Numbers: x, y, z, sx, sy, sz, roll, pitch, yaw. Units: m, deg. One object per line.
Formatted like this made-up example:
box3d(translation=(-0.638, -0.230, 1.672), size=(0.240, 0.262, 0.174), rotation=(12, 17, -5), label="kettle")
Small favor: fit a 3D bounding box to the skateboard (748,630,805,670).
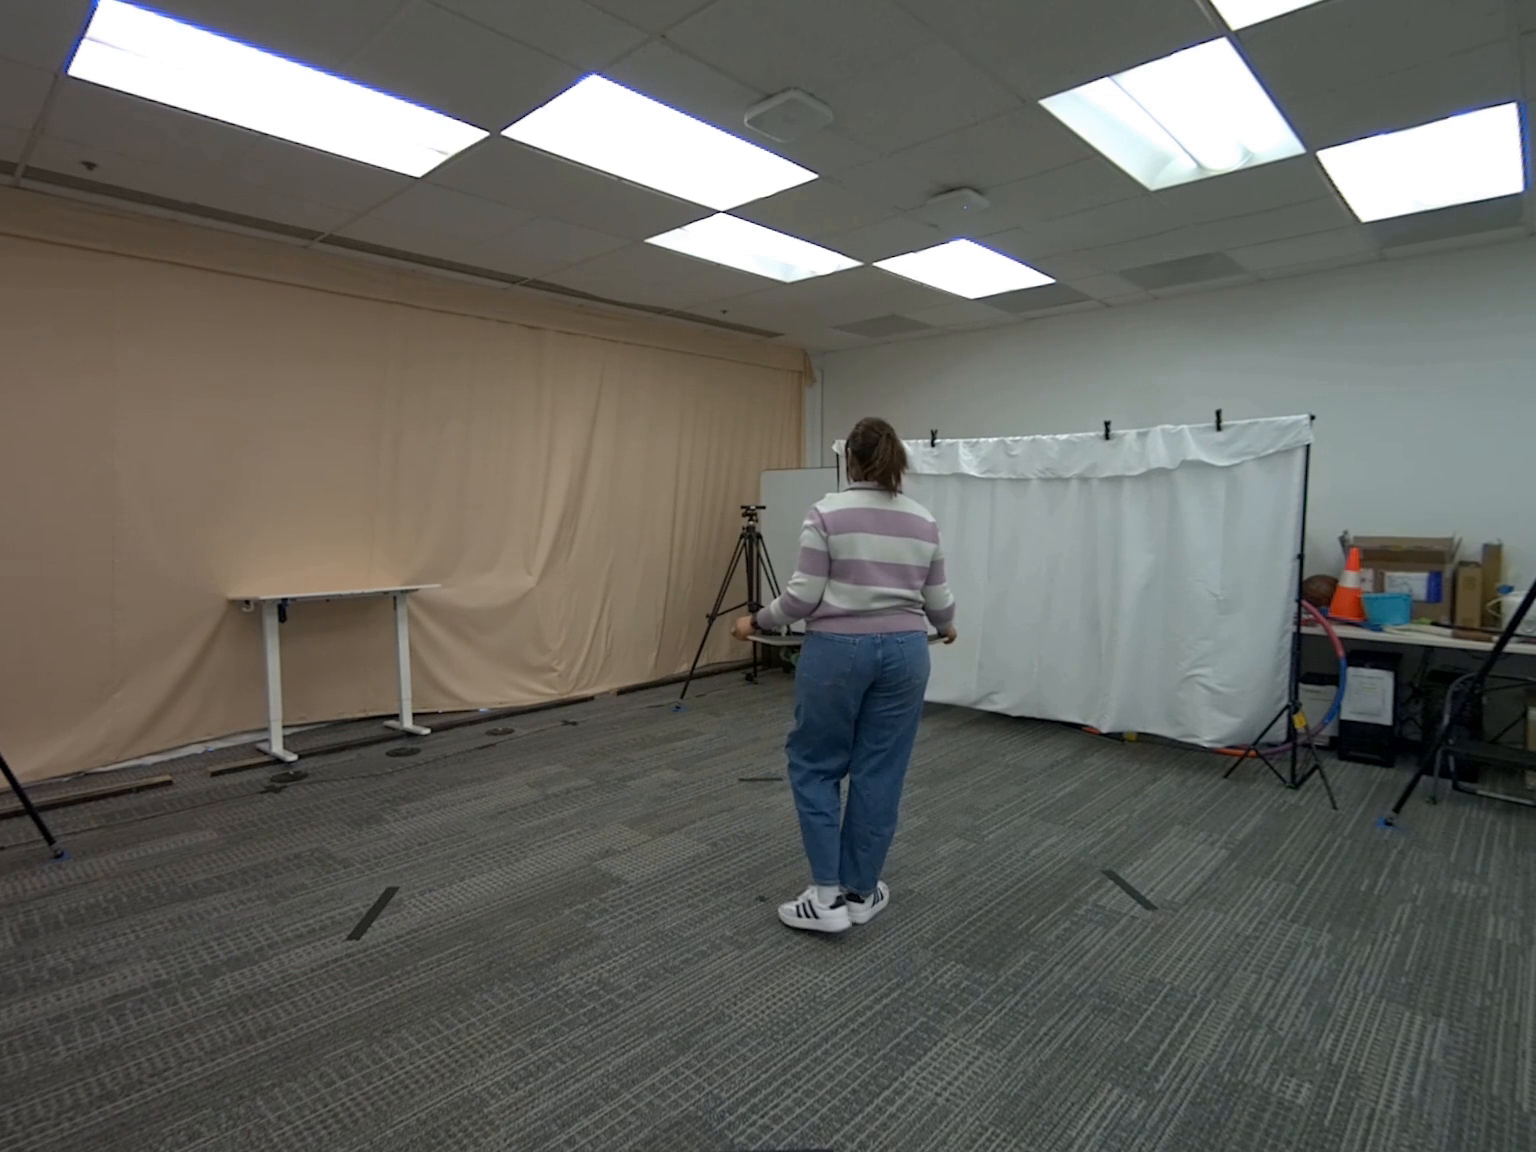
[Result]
box3d(translation=(0.299, 0.269, 3.045), size=(0.781, 0.110, 0.194), rotation=(2, 1, -5), label="skateboard")
